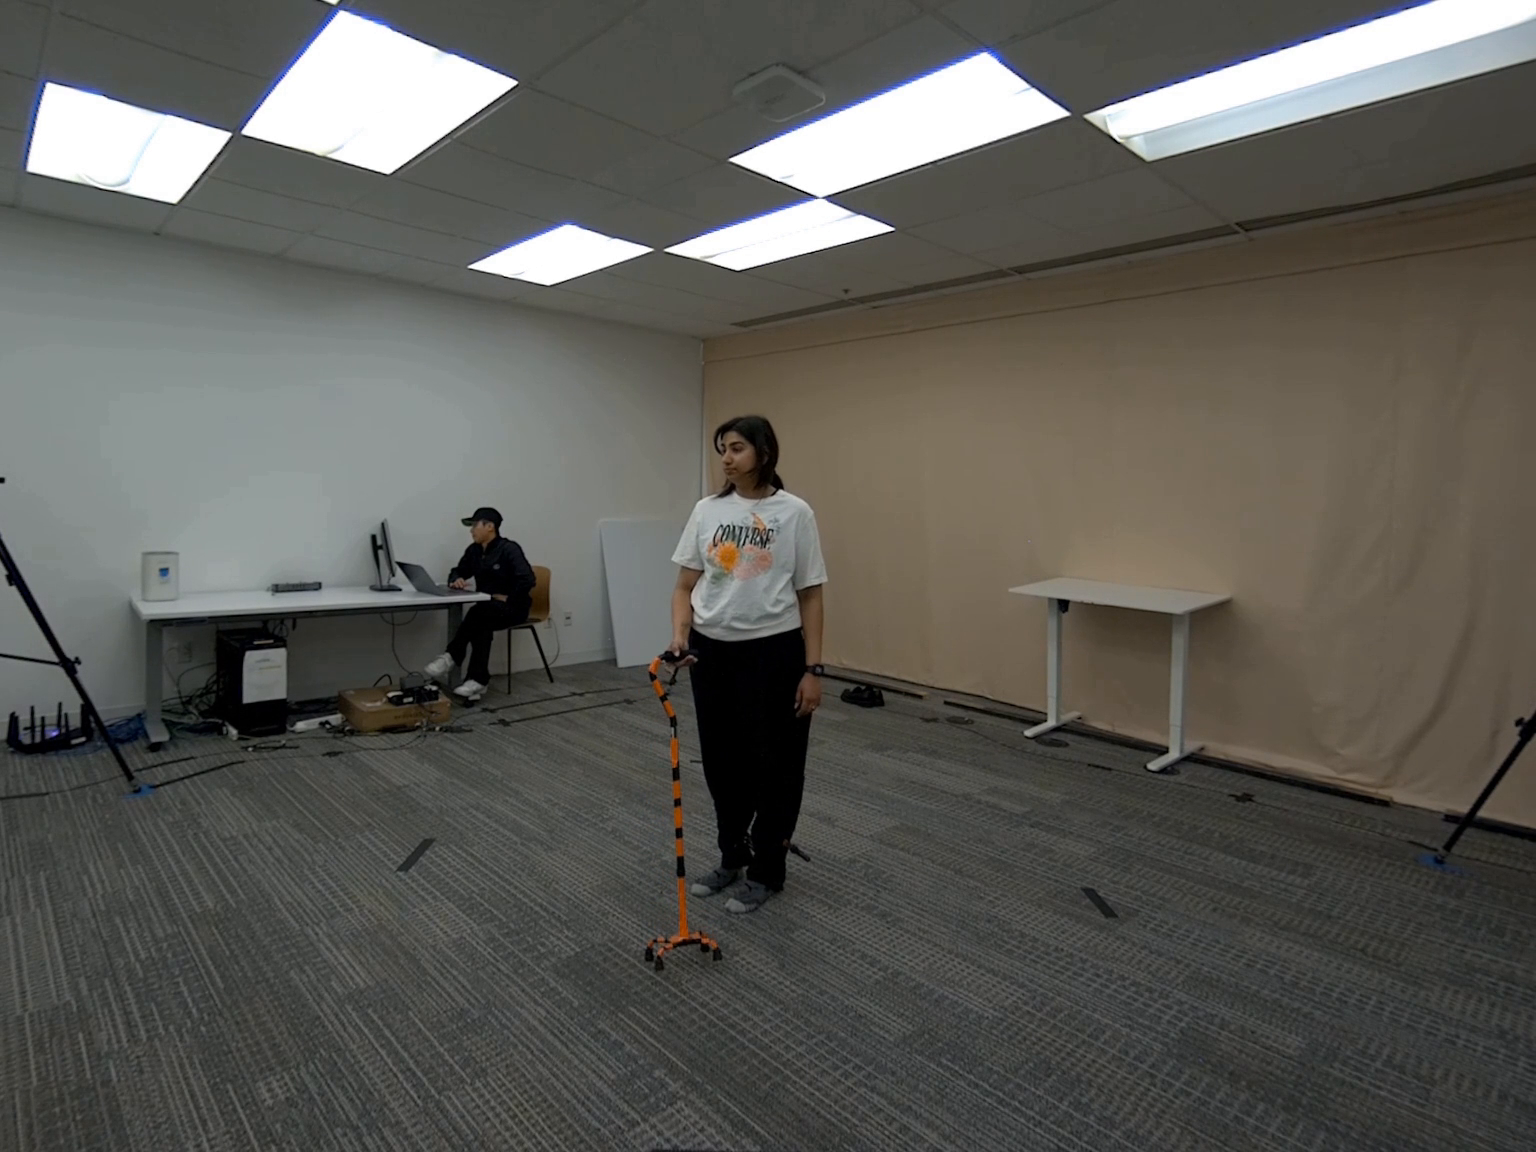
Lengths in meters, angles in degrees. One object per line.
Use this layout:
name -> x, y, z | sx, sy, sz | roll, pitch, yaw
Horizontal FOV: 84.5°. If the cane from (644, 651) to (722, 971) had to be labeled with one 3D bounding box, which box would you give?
cane -> -0.293, 0.697, 2.582 | 0.203, 0.916, 0.153 | 0, -11, -21
